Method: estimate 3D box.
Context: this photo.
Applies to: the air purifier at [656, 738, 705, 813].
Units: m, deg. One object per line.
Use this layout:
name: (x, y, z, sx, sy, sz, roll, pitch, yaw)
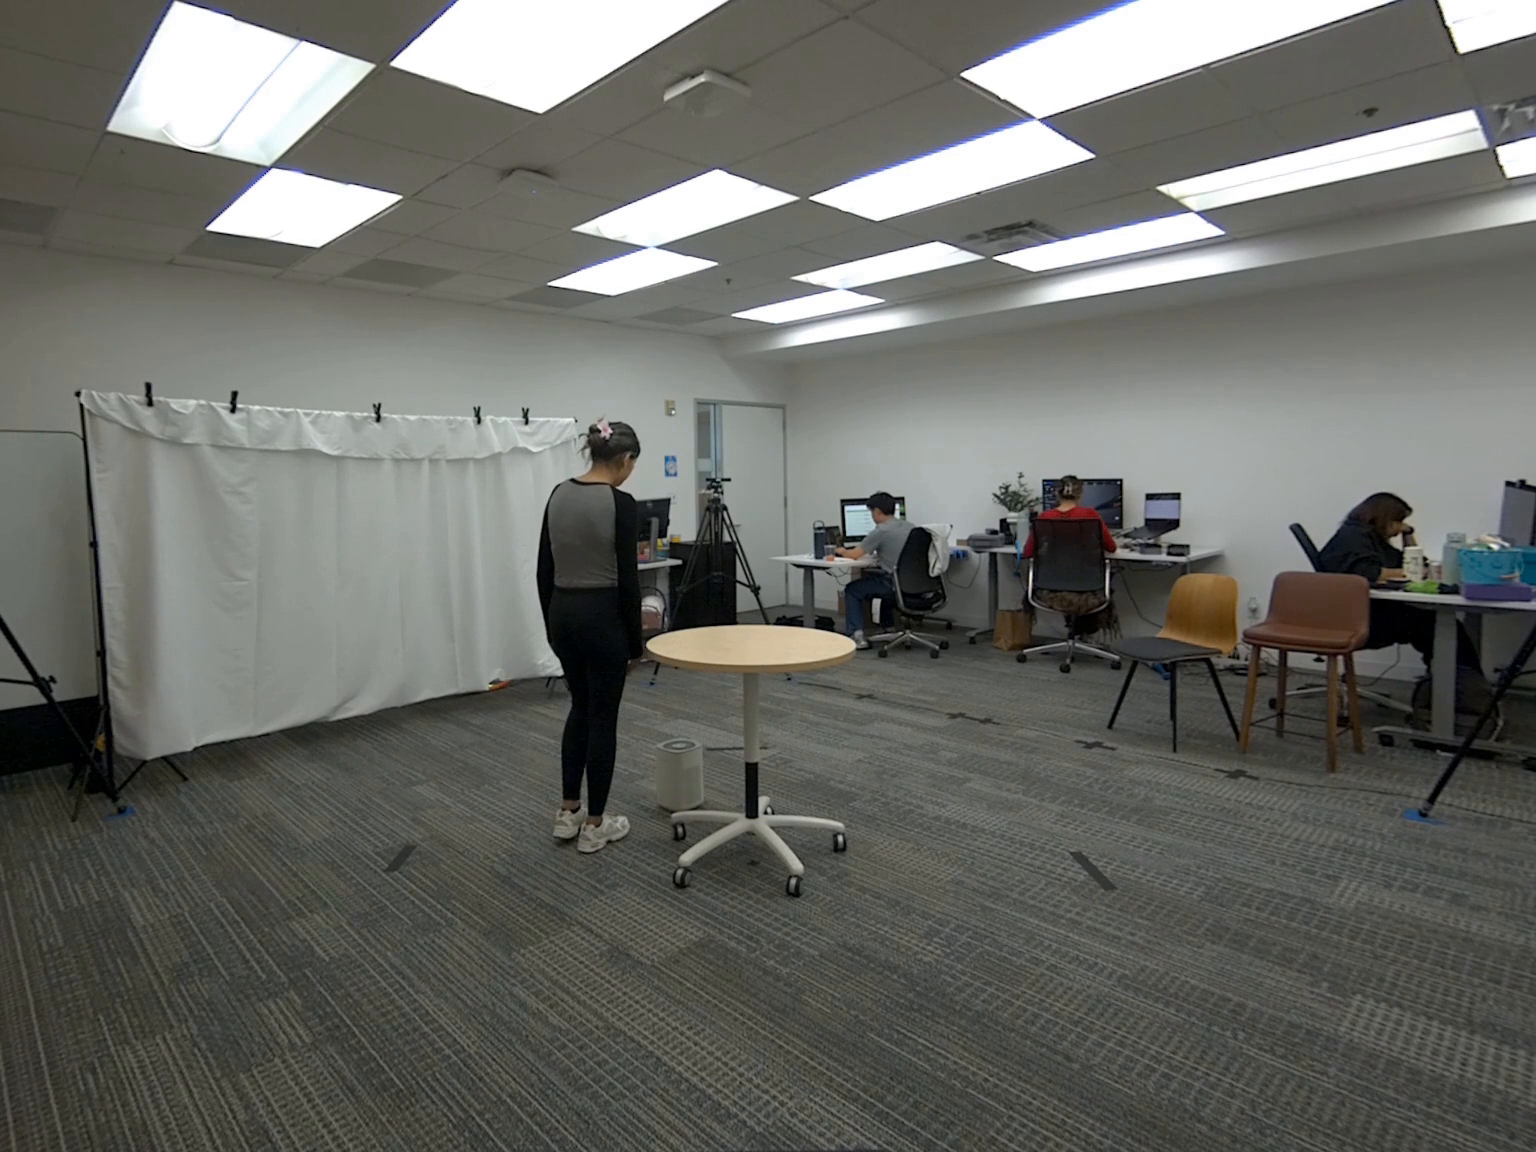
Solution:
air purifier: (-0.376, 0.853, 3.661, 0.176, 0.264, 0.167, 2, 5, 41)
